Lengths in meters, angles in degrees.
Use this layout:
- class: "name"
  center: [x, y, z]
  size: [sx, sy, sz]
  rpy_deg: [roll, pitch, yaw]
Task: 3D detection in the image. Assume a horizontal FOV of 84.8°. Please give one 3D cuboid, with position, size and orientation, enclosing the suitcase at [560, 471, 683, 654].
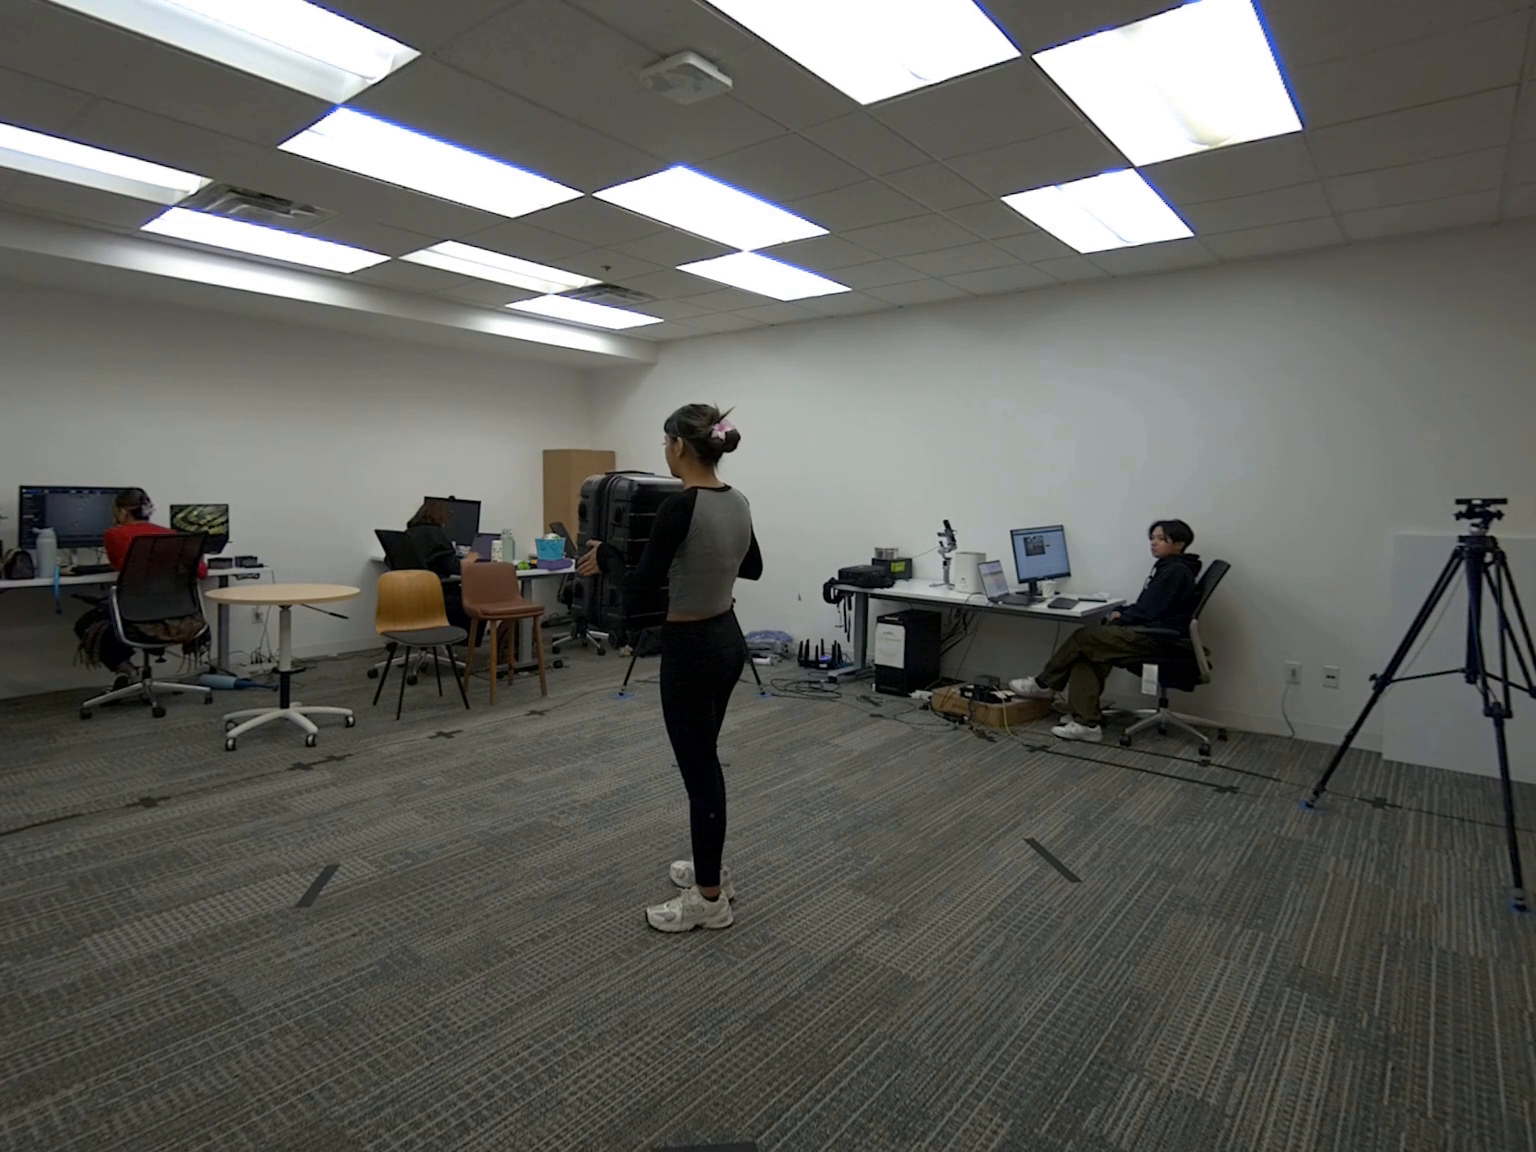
- class: "suitcase"
  center: [-0.450, -0.072, 2.815]
  size: [0.257, 0.547, 0.364]
  rpy_deg: [8, 6, 36]
